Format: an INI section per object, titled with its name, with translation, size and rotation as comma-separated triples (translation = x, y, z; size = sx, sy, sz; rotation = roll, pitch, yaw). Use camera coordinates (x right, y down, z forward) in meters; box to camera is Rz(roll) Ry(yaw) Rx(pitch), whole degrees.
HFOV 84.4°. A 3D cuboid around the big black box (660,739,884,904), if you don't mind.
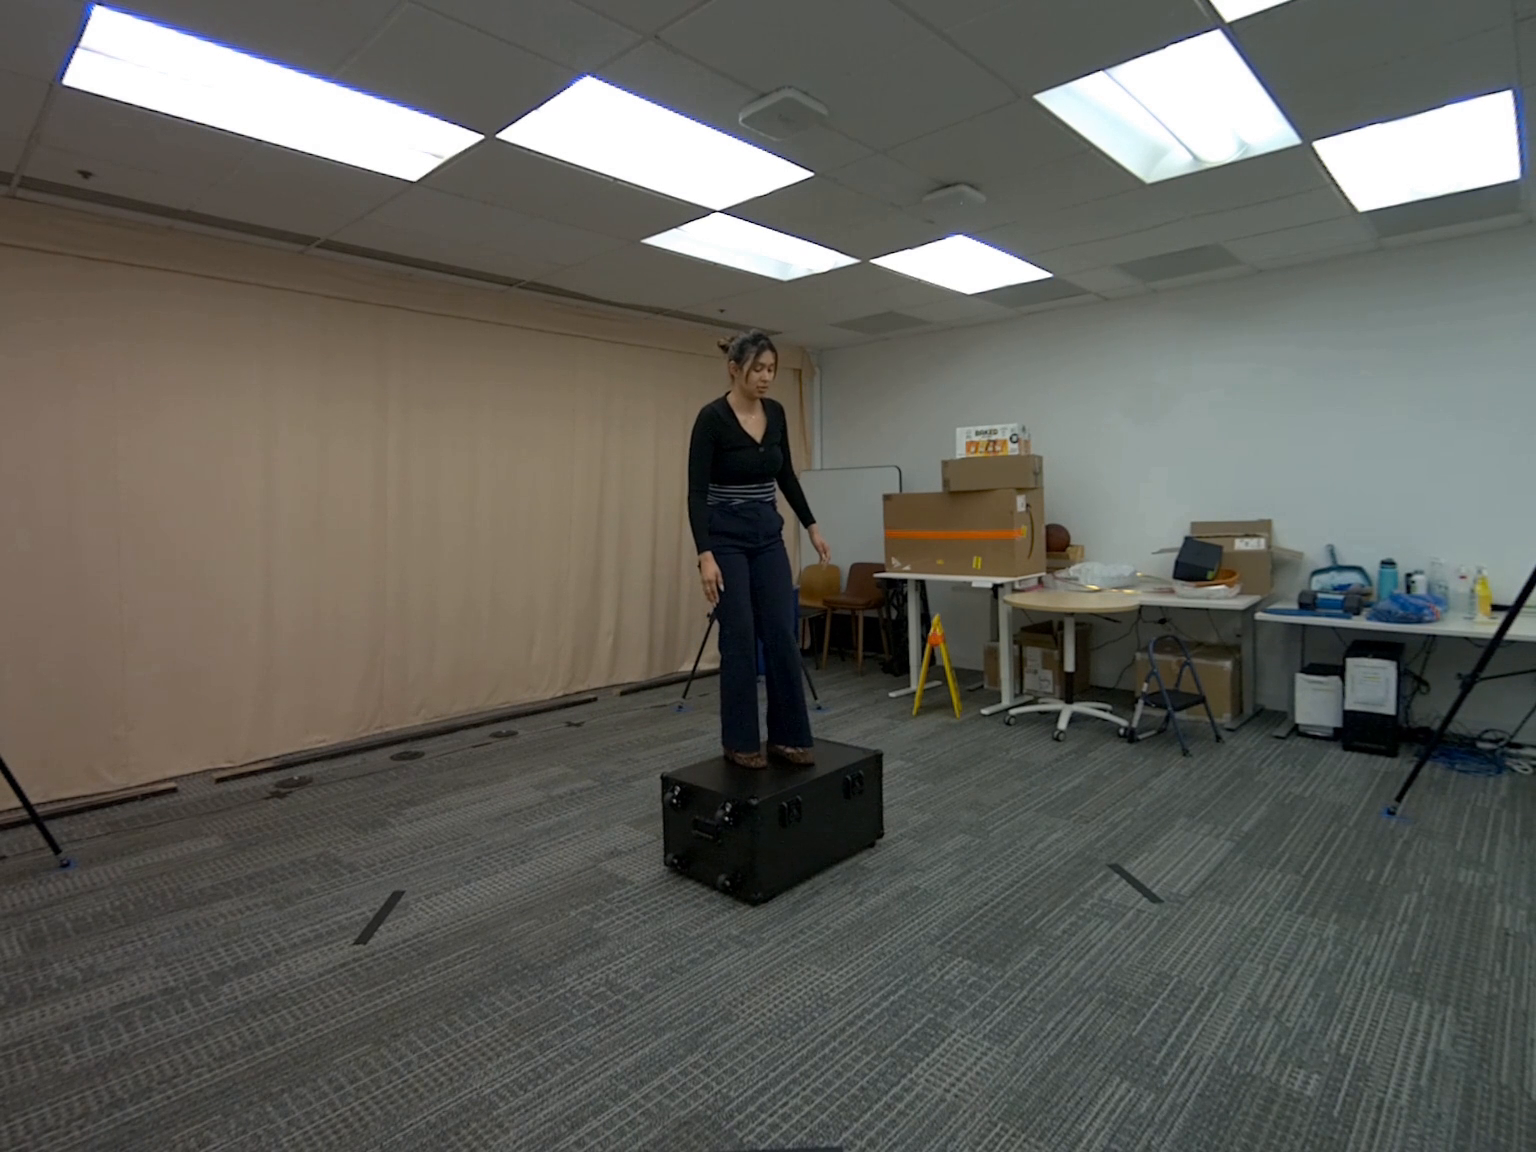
[big black box]
translation = 0.057, 0.917, 3.337
size = 0.538, 0.395, 0.836
rotation = 3, 6, 43
